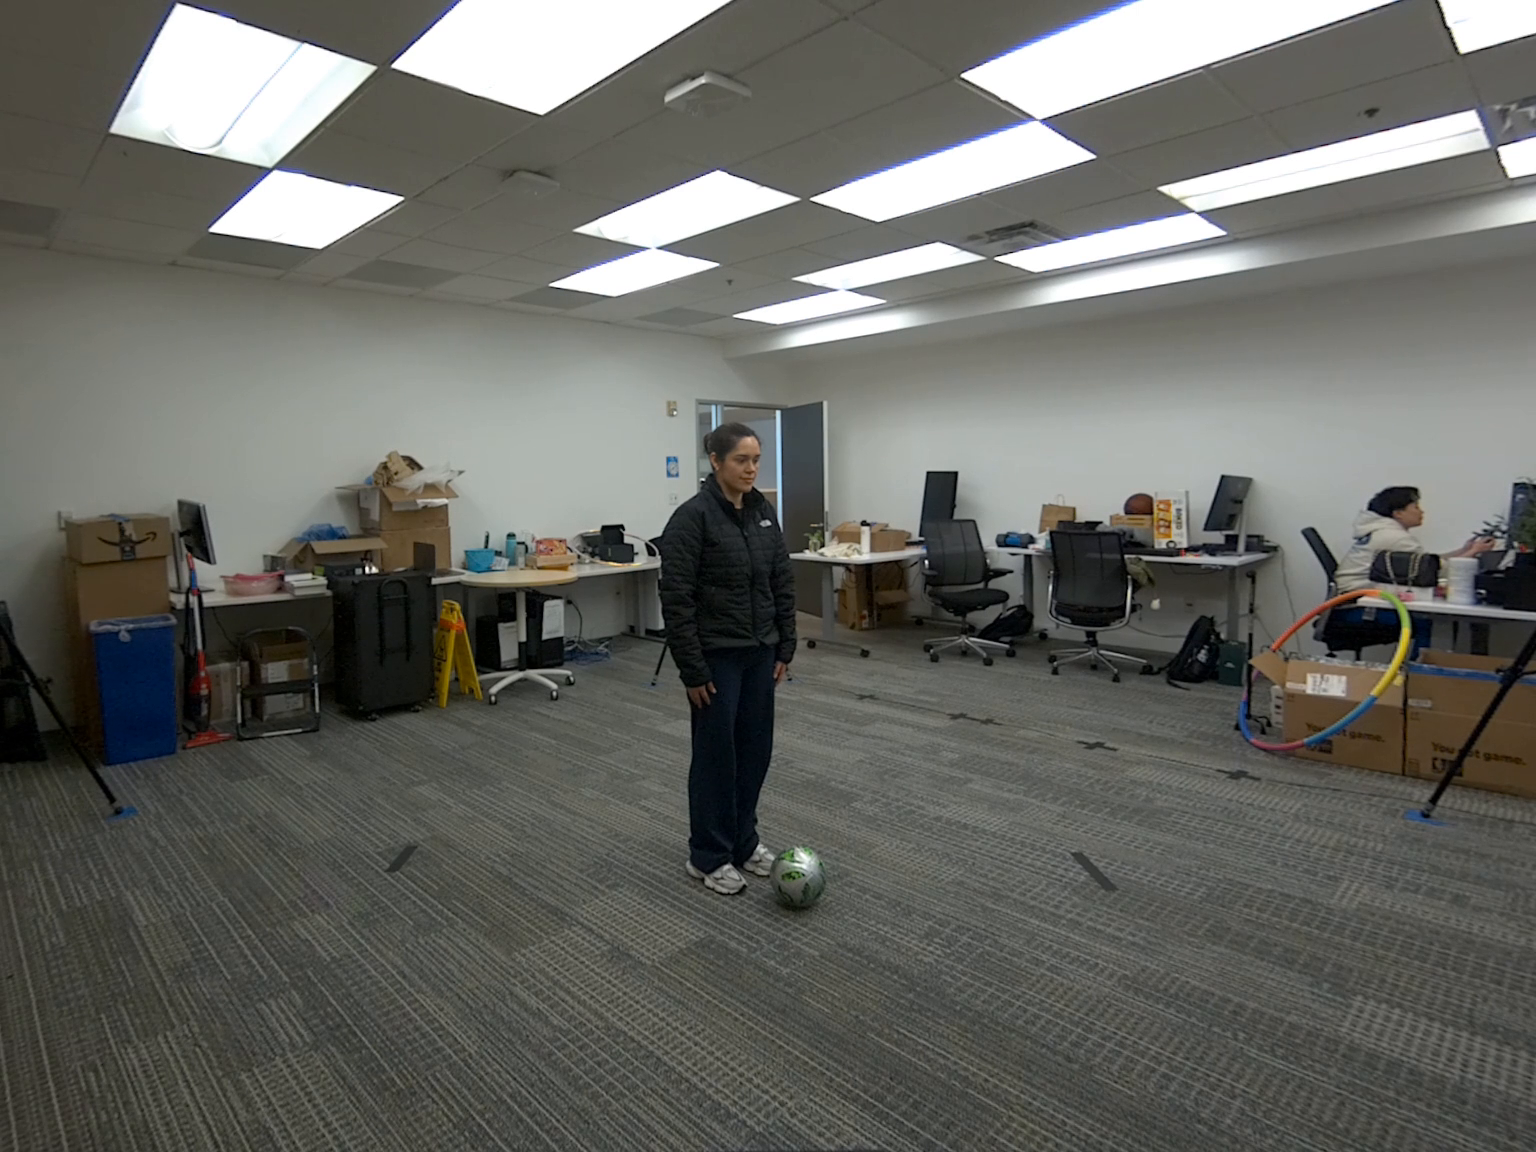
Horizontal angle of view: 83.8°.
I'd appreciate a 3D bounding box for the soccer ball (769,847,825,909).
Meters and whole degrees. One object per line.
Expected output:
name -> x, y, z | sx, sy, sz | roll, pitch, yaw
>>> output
soccer ball -> 0.104, 0.980, 2.799 | 0.187, 0.187, 0.188 | -1, 5, -2
